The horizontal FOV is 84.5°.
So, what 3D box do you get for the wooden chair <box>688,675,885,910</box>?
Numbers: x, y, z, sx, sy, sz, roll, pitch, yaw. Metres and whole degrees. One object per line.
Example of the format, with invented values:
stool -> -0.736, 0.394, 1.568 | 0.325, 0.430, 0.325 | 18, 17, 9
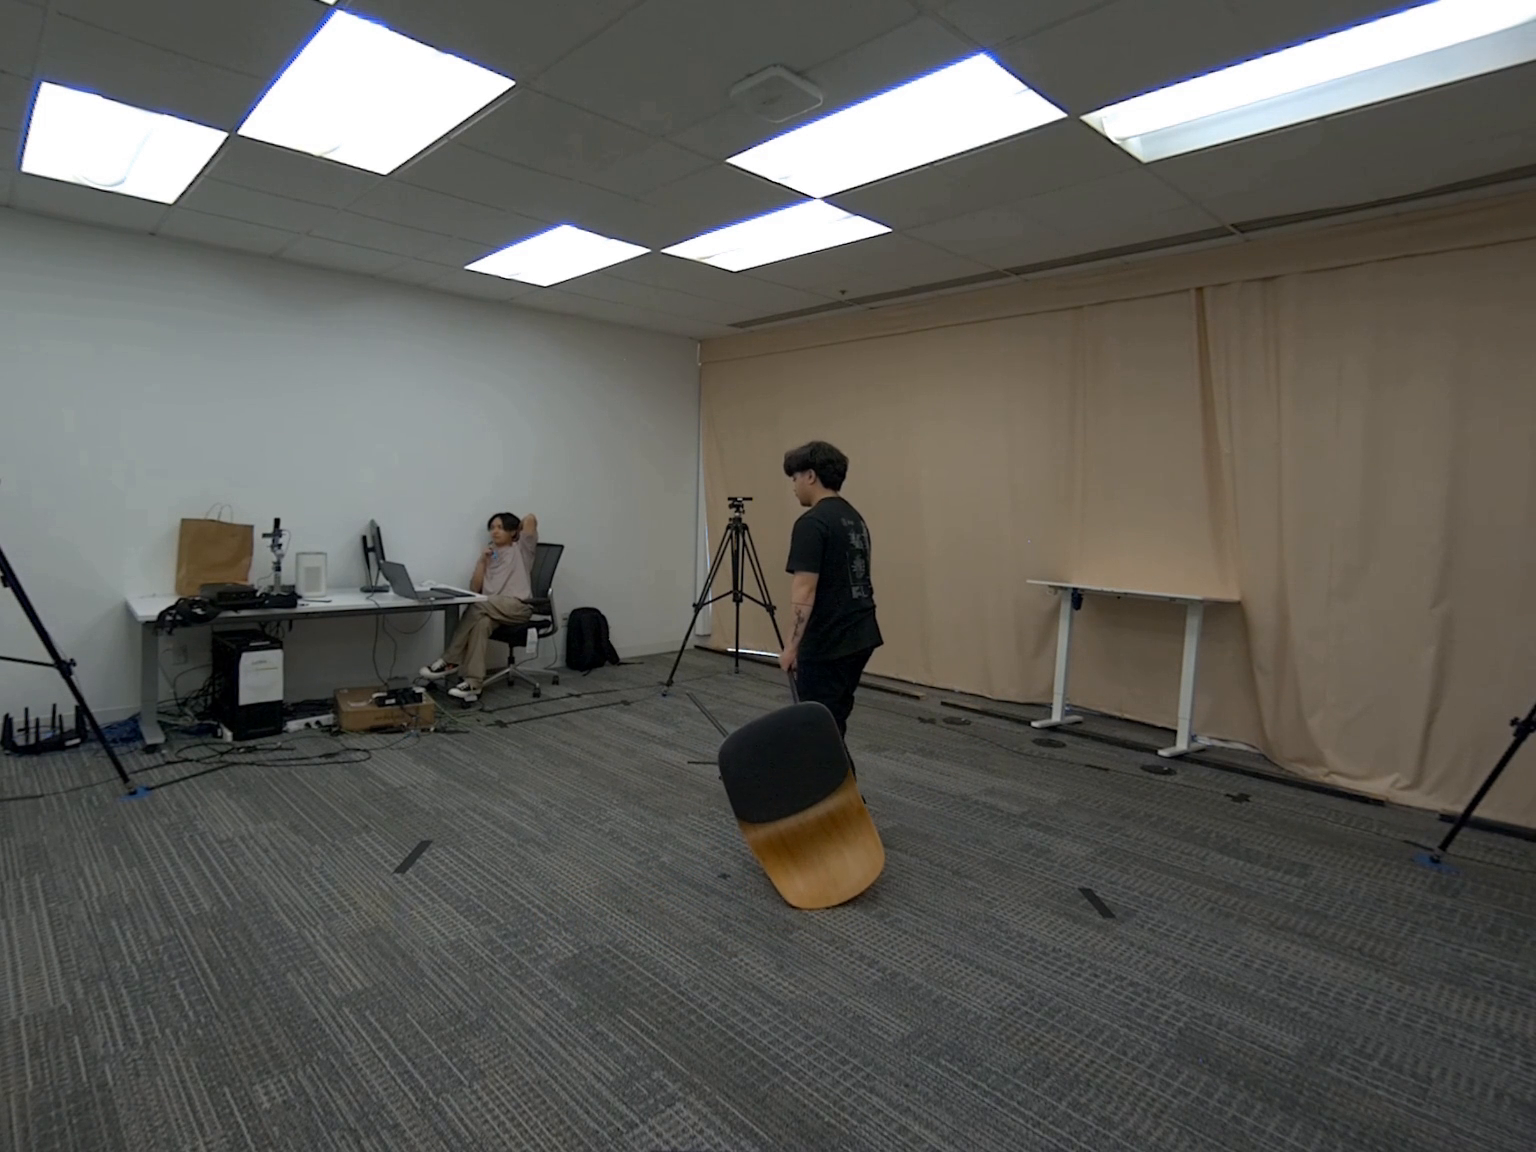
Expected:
wooden chair -> 0.062, 0.730, 3.153 | 0.476, 0.512, 0.900 | -21, 27, -9
